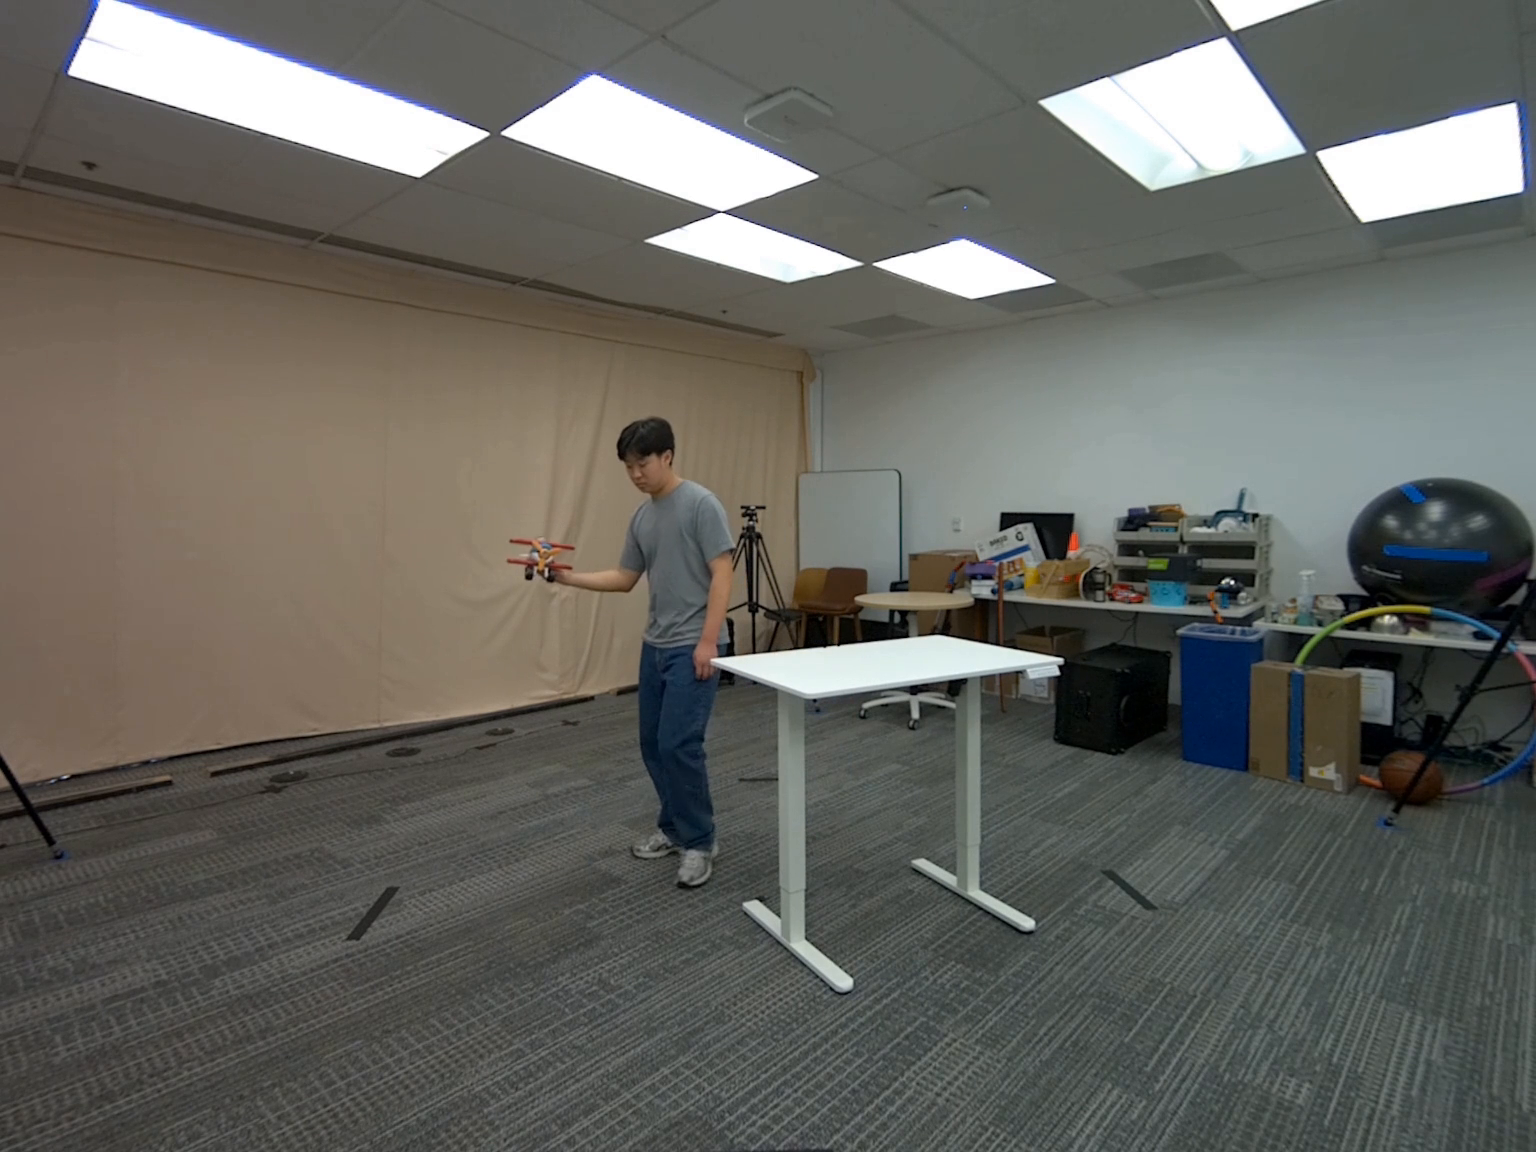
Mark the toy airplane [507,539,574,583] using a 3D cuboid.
[{"bbox_3d":[-0.919,-0.070,3.340,0.269,0.156,0.243,19,11,40],"label":"toy airplane"}]
